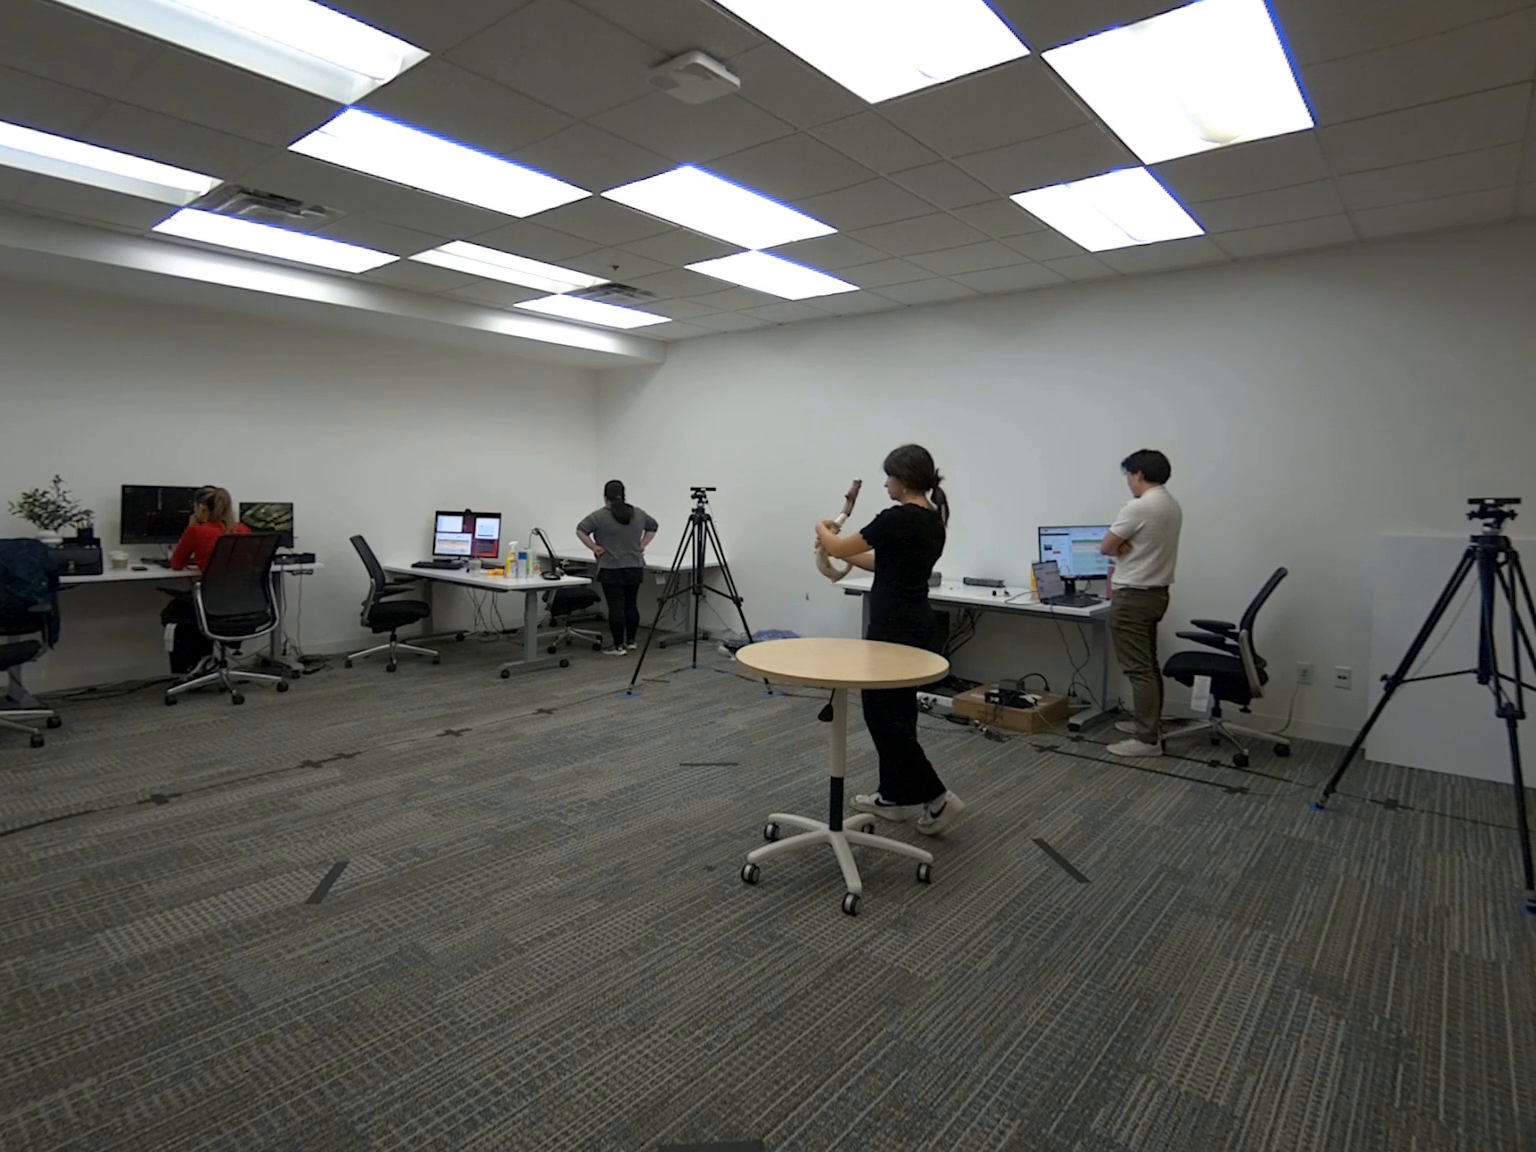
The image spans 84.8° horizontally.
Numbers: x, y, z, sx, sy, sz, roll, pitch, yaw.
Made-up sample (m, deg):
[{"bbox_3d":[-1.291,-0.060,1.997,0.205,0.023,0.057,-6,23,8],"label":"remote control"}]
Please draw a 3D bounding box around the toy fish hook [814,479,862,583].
[{"bbox_3d":[0.343,-0.211,3.876,0.216,0.511,0.050,38,-24,-32],"label":"toy fish hook"}]
